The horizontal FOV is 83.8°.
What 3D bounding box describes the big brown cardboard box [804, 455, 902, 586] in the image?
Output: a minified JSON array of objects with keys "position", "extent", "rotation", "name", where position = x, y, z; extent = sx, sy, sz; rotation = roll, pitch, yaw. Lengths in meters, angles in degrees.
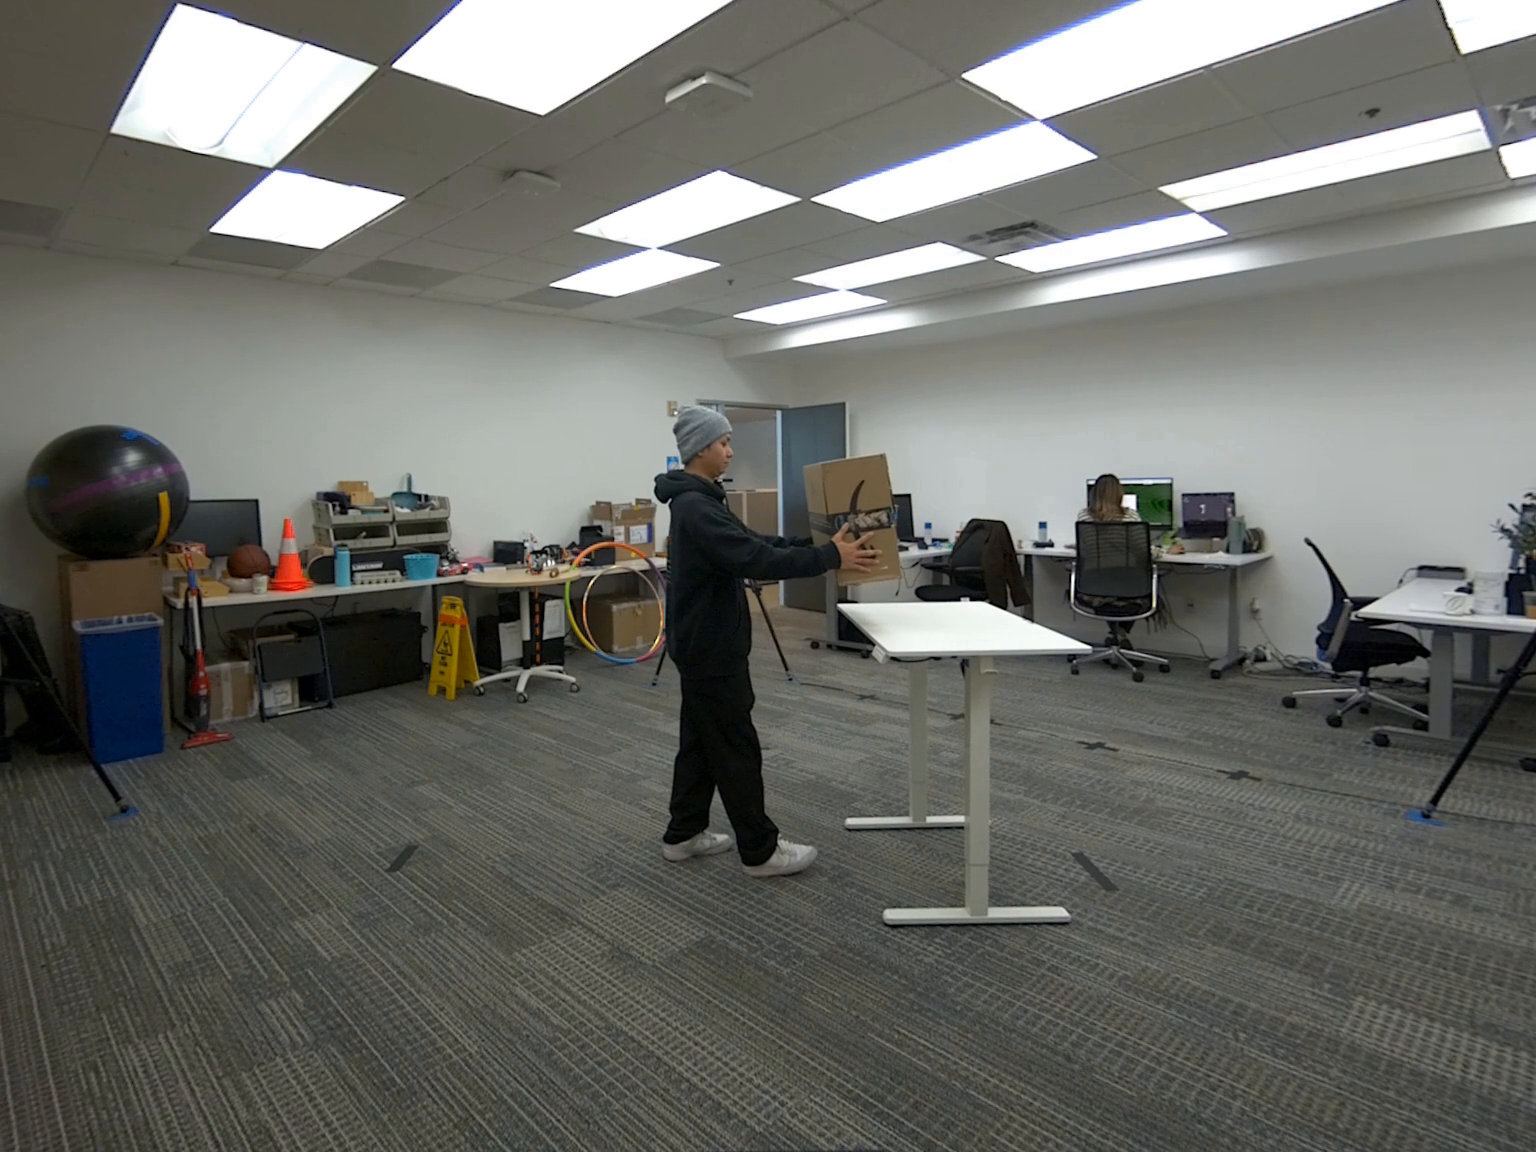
[{"position":[0.289,-0.211,3.070],"extent":[0.233,0.416,0.592],"rotation":[-8,5,-3],"name":"big brown cardboard box"}]
